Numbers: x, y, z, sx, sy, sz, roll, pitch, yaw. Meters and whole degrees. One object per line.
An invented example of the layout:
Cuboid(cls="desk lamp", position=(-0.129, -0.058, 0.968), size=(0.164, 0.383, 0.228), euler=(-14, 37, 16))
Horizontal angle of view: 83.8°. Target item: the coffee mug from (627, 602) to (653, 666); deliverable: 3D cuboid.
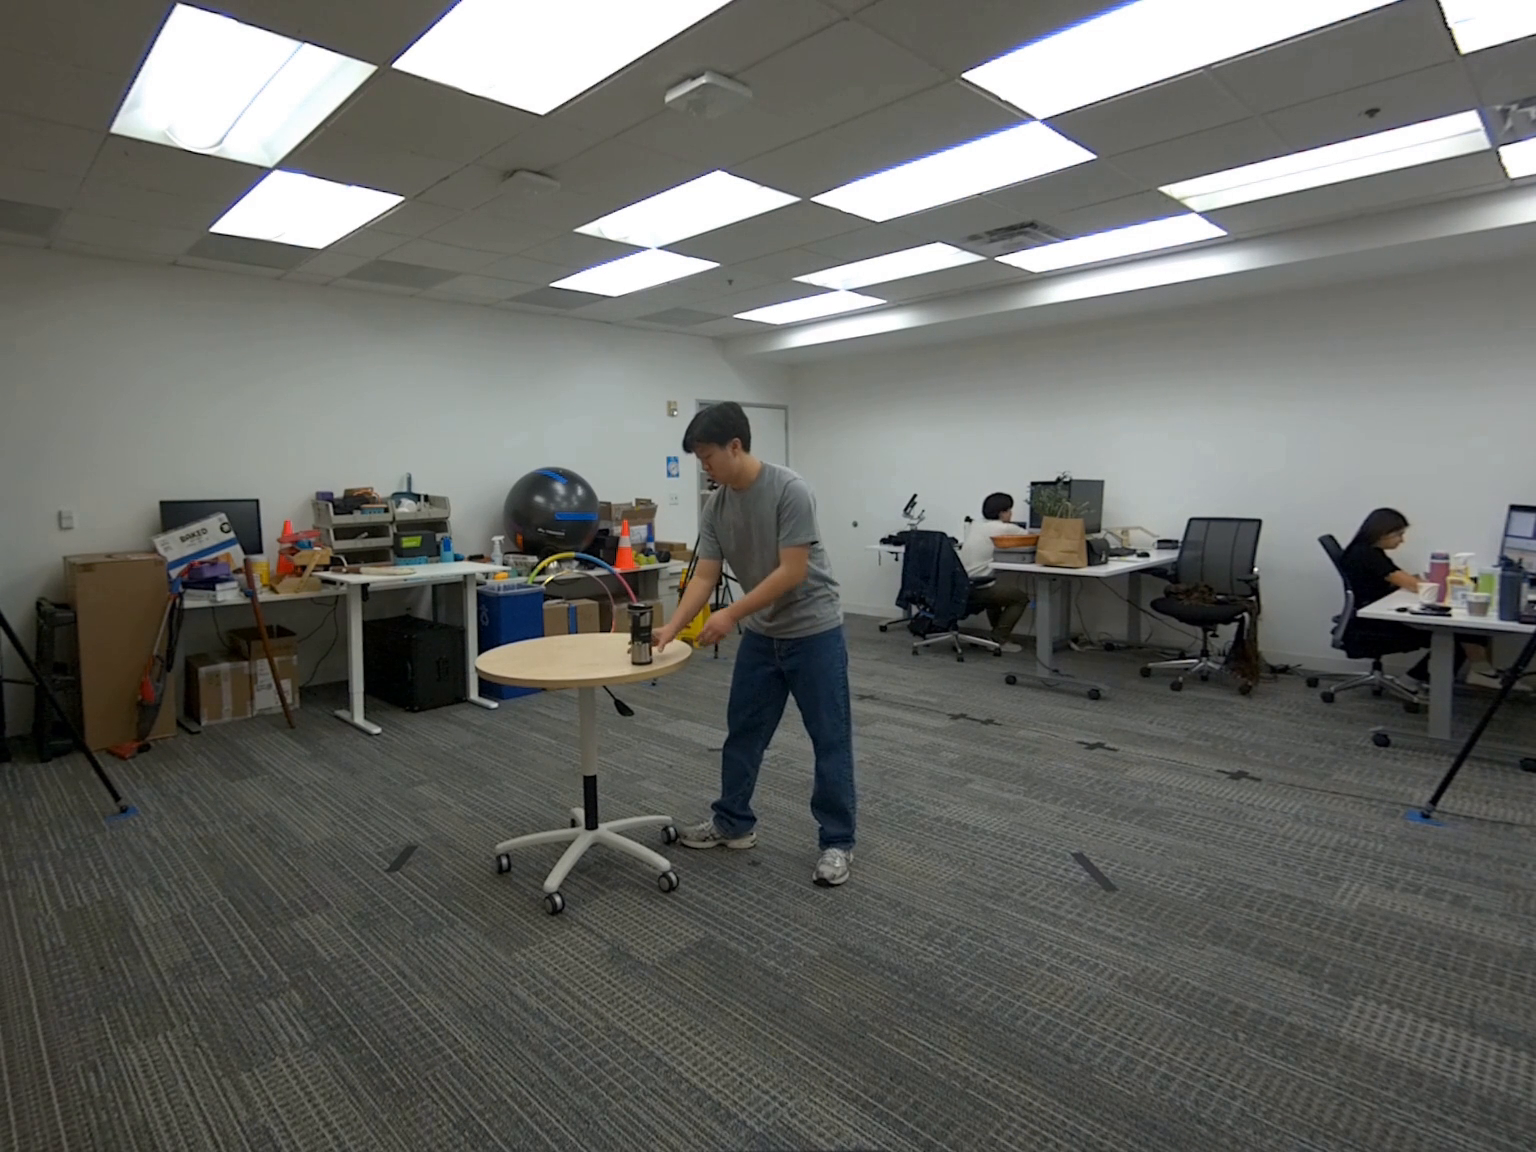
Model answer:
Cuboid(cls="coffee mug", position=(-0.441, 0.198, 2.856), size=(0.091, 0.202, 0.119), euler=(8, 6, 36))
